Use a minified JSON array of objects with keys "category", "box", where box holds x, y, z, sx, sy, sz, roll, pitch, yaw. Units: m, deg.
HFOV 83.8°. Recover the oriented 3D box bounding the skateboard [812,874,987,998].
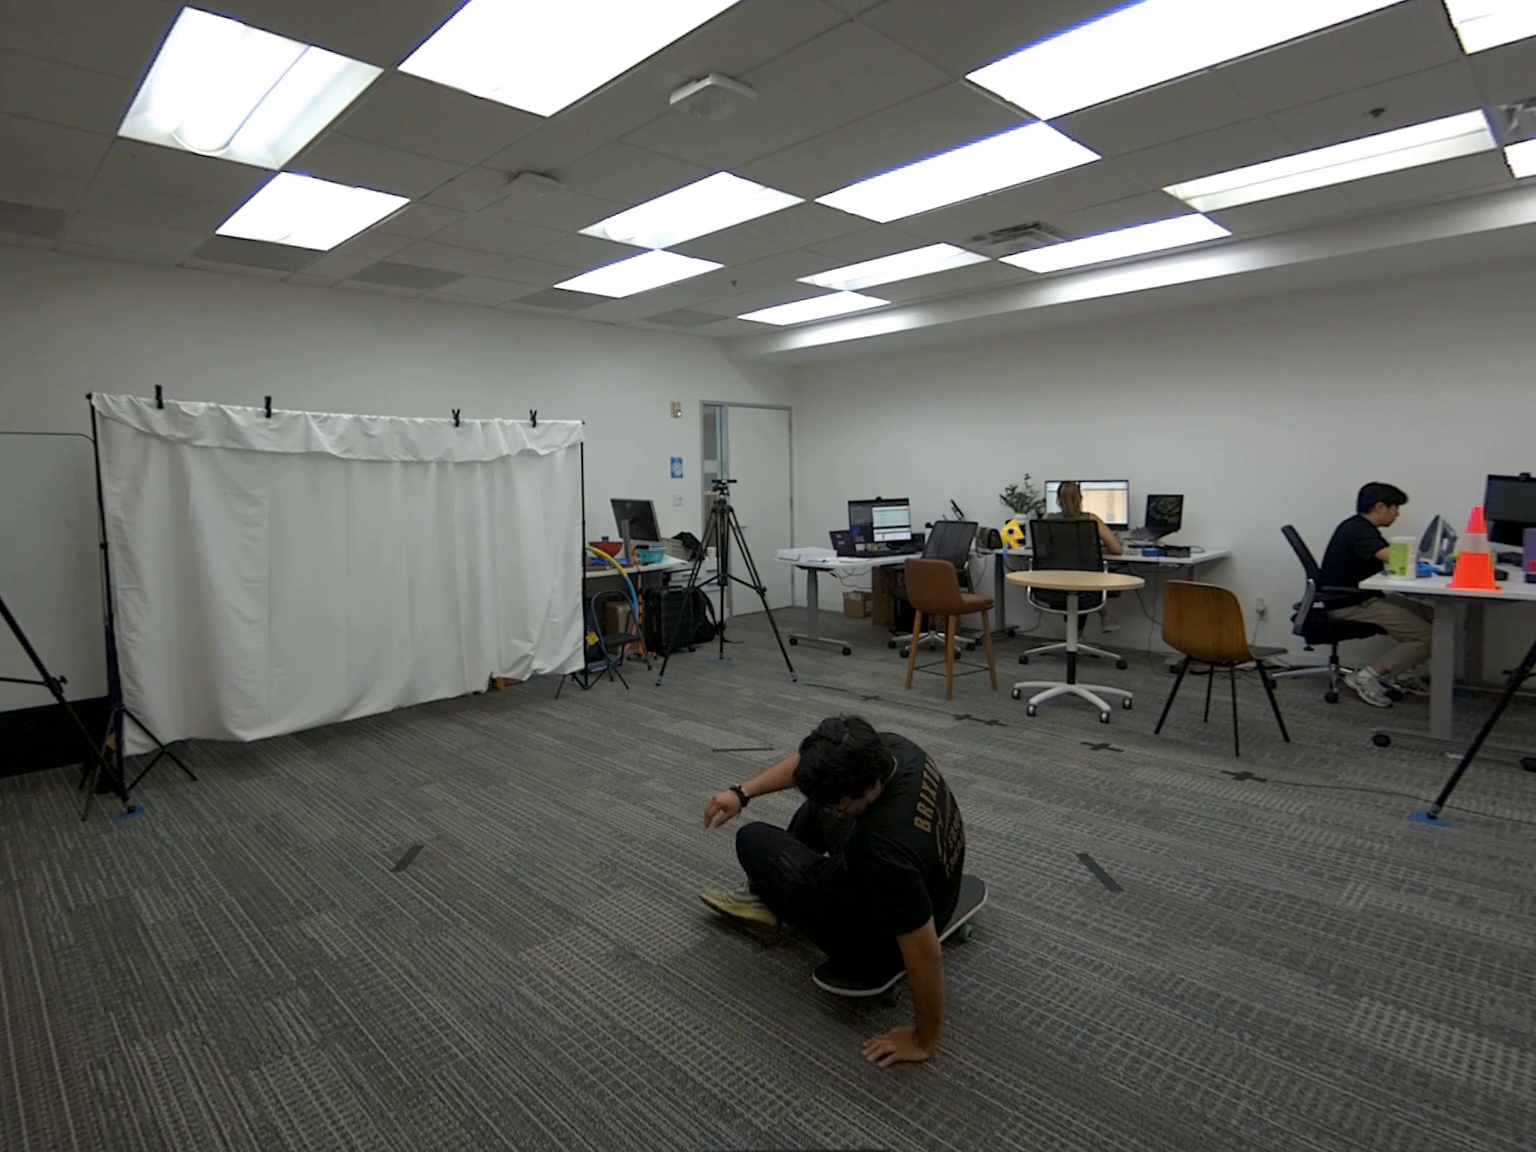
[{"category":"skateboard","box":[0.406,1.051,2.480,0.199,0.110,0.766,1,7,43]}]
